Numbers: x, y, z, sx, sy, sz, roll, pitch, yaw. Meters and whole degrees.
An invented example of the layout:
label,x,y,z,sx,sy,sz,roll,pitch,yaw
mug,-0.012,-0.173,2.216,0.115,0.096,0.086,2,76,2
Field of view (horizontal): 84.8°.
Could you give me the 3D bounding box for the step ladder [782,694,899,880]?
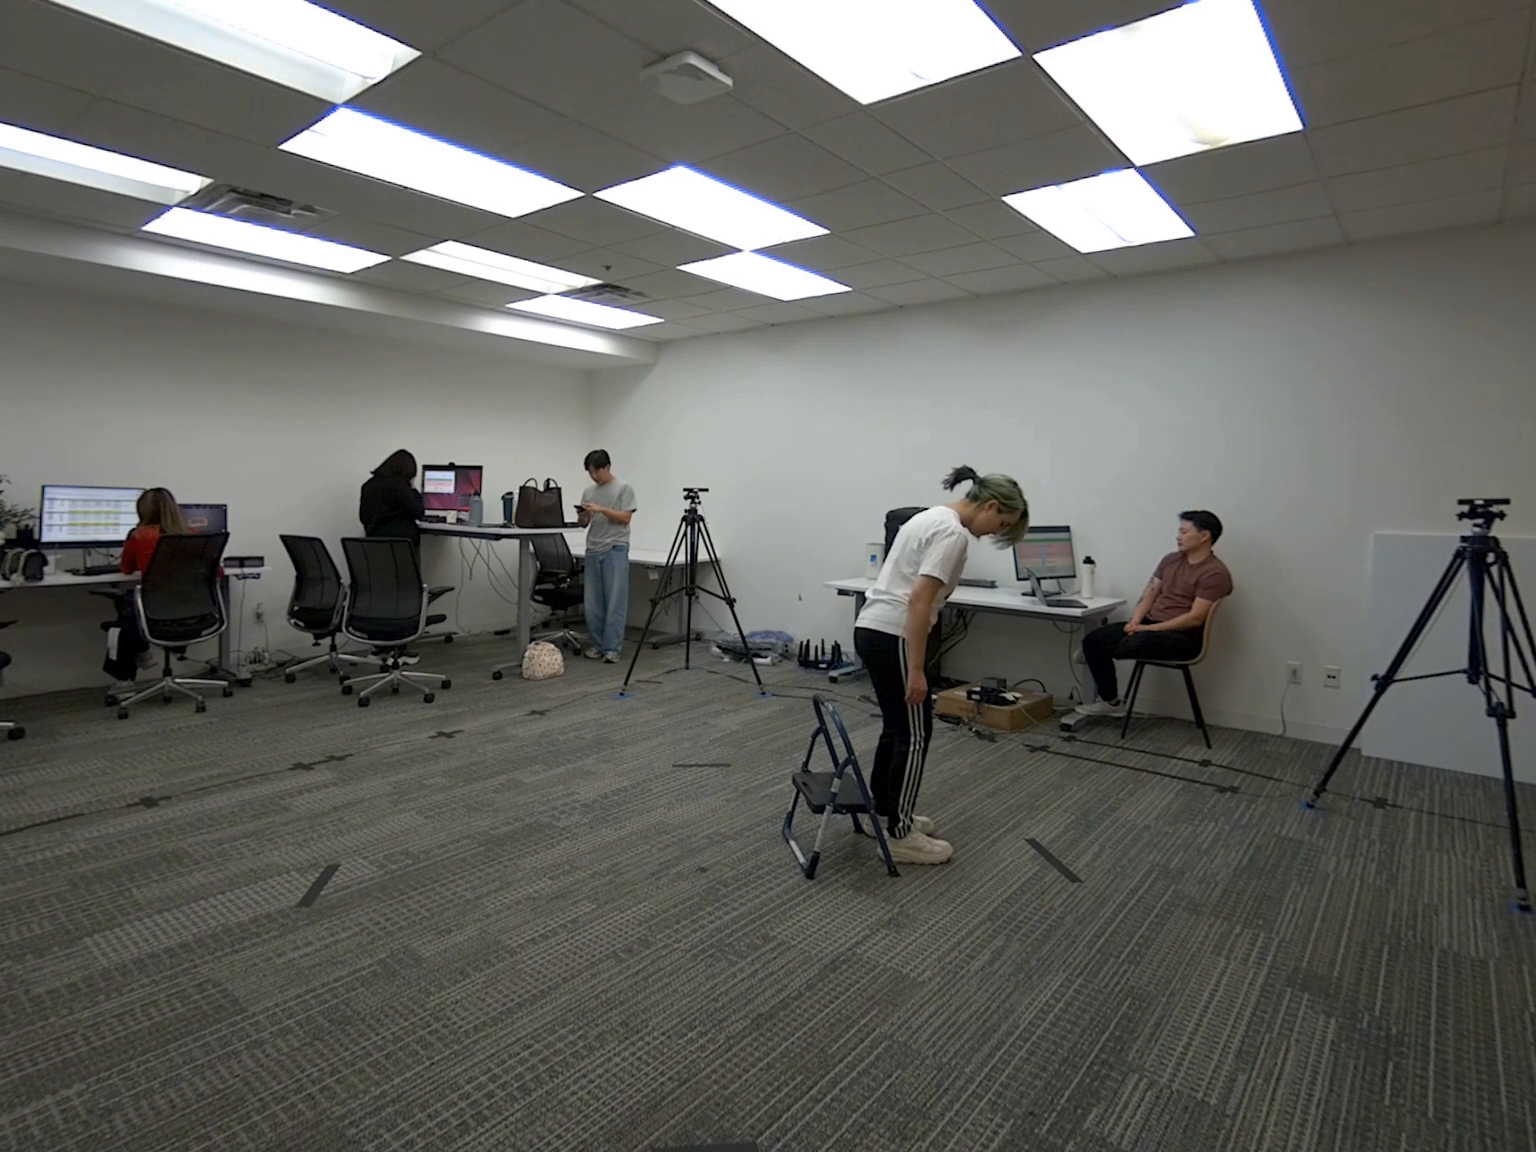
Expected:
label,x,y,z,sx,sy,sz,roll,pitch,yaw
step ladder,0.262,0.767,3.249,0.345,0.605,0.437,1,3,-12
